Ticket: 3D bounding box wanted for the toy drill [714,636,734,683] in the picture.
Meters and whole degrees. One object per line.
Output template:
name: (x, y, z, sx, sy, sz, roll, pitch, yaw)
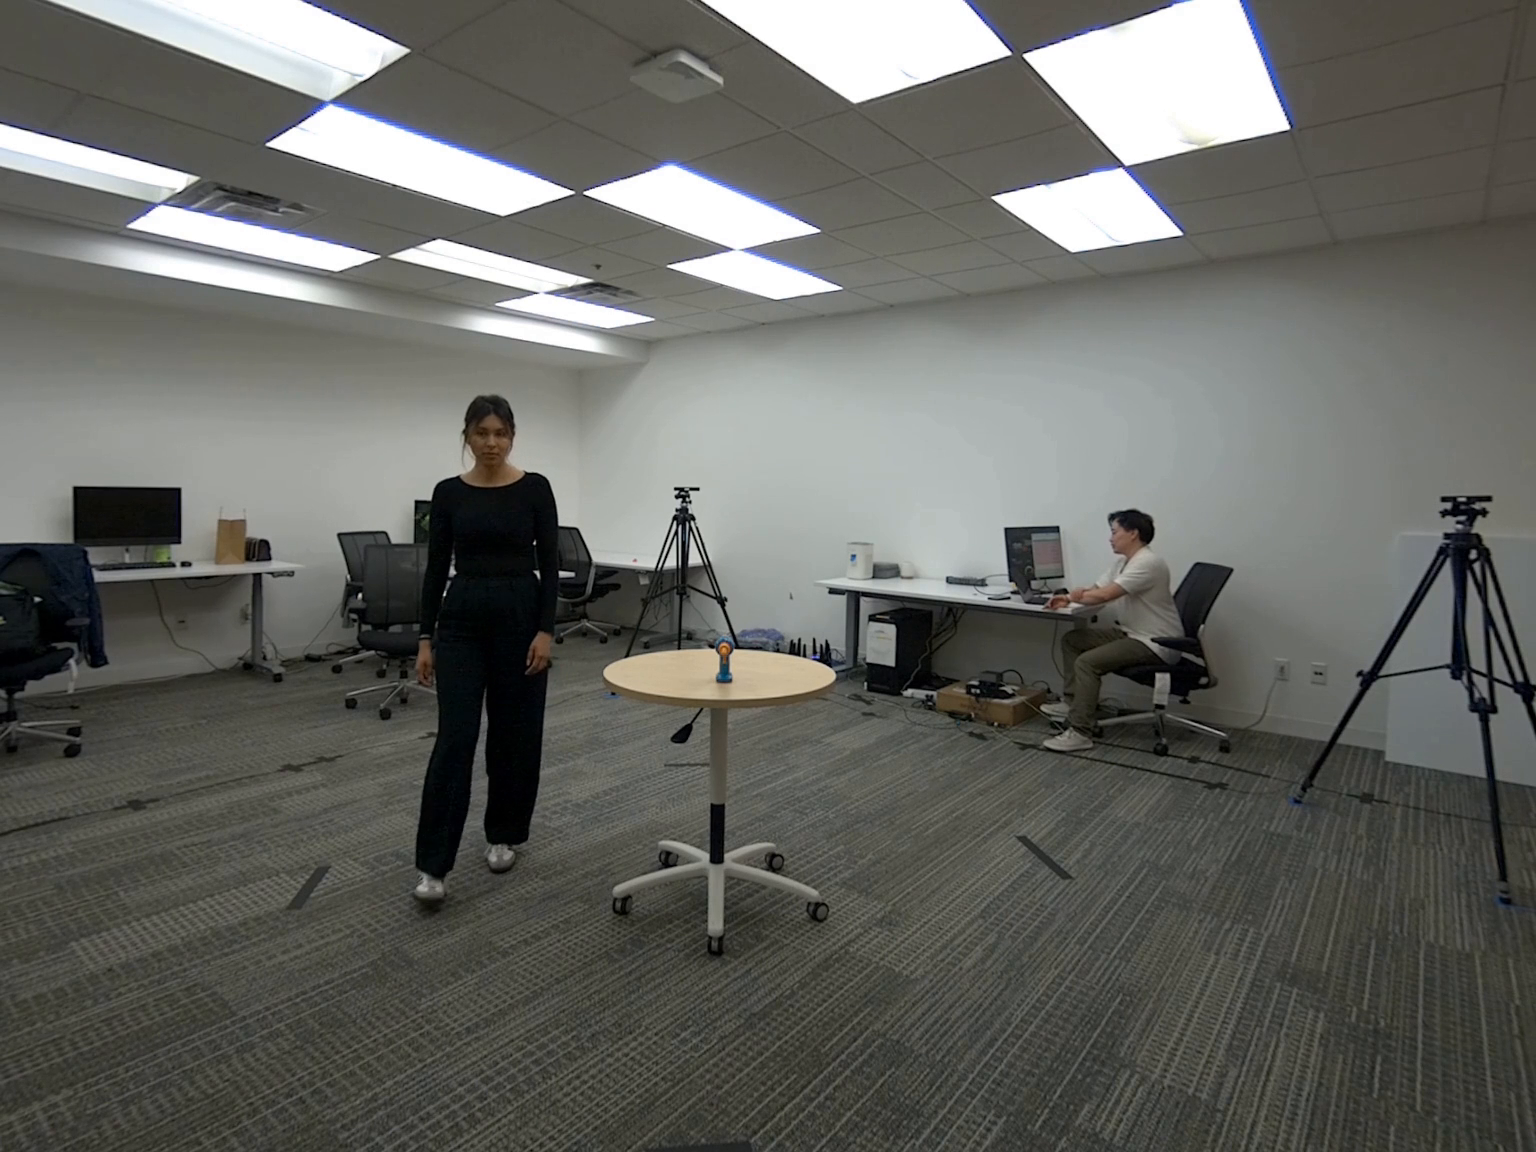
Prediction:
toy drill: (-0.143, 0.259, 2.632, 0.061, 0.146, 0.171, -2, 4, -7)
